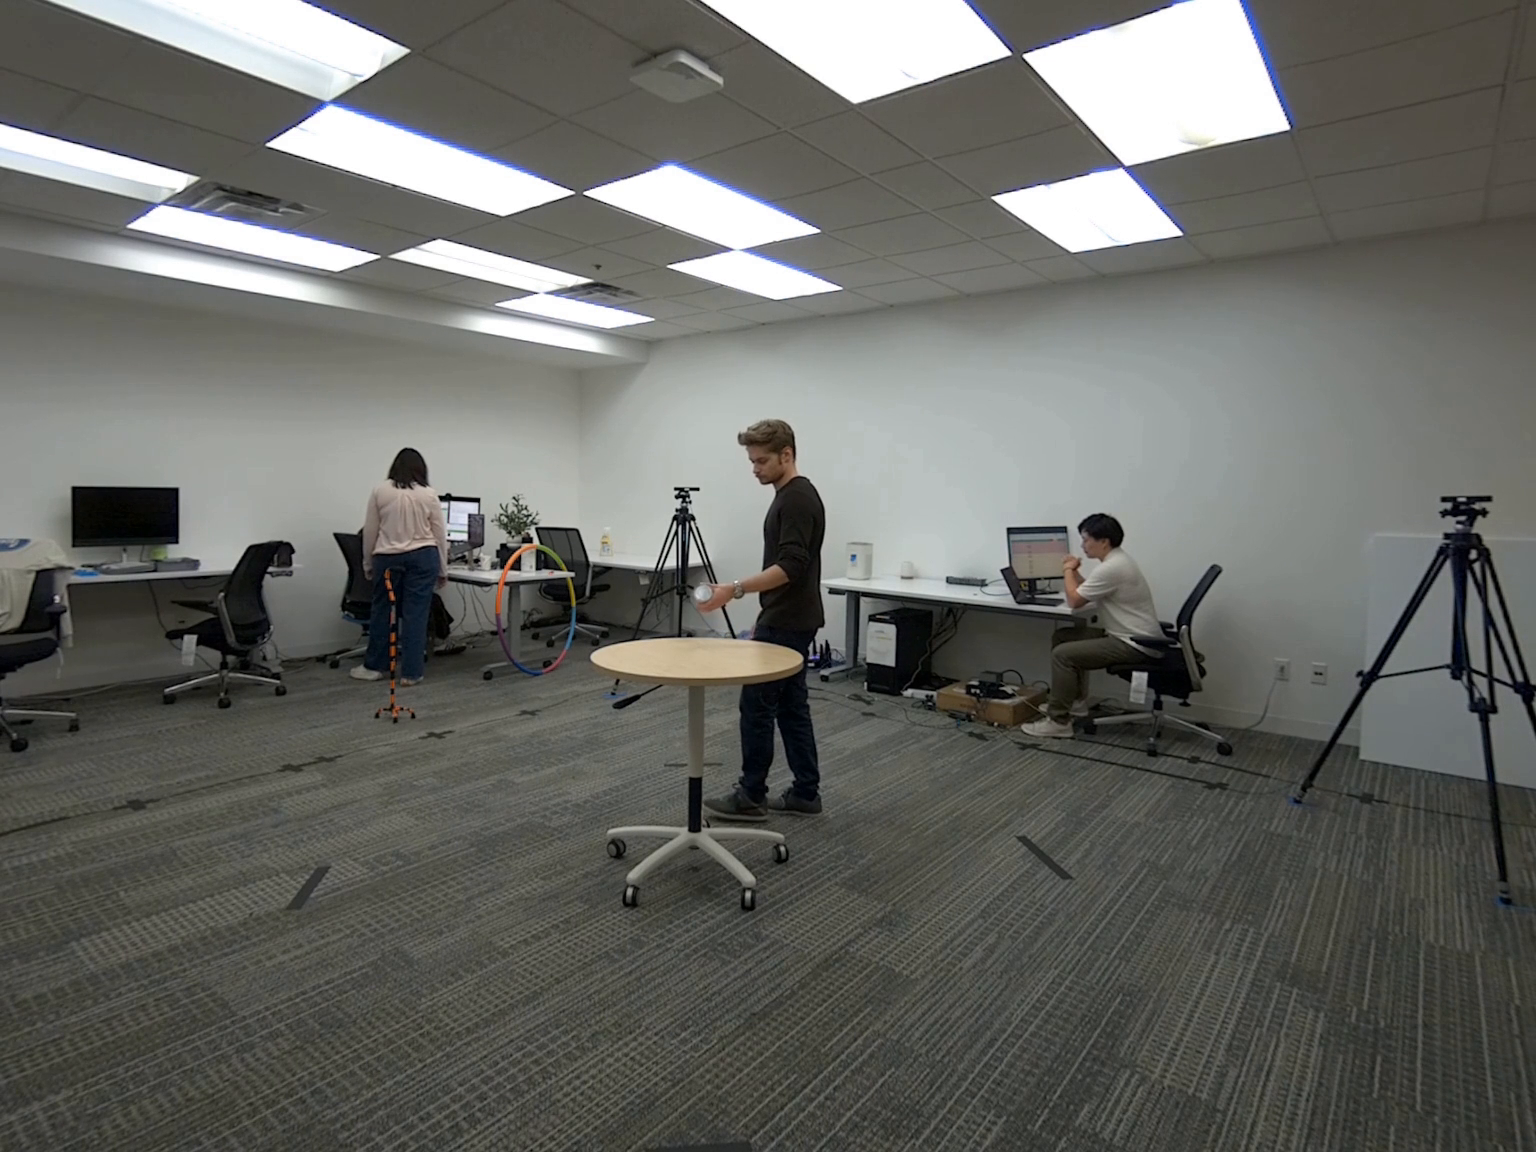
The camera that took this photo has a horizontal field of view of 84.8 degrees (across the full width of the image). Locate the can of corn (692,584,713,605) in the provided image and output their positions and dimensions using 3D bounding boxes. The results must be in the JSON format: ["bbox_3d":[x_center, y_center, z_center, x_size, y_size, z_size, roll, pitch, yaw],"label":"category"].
[{"bbox_3d":[-0.273,0.076,3.361,0.074,0.075,0.109,1,-20,-2],"label":"can of corn"}]
